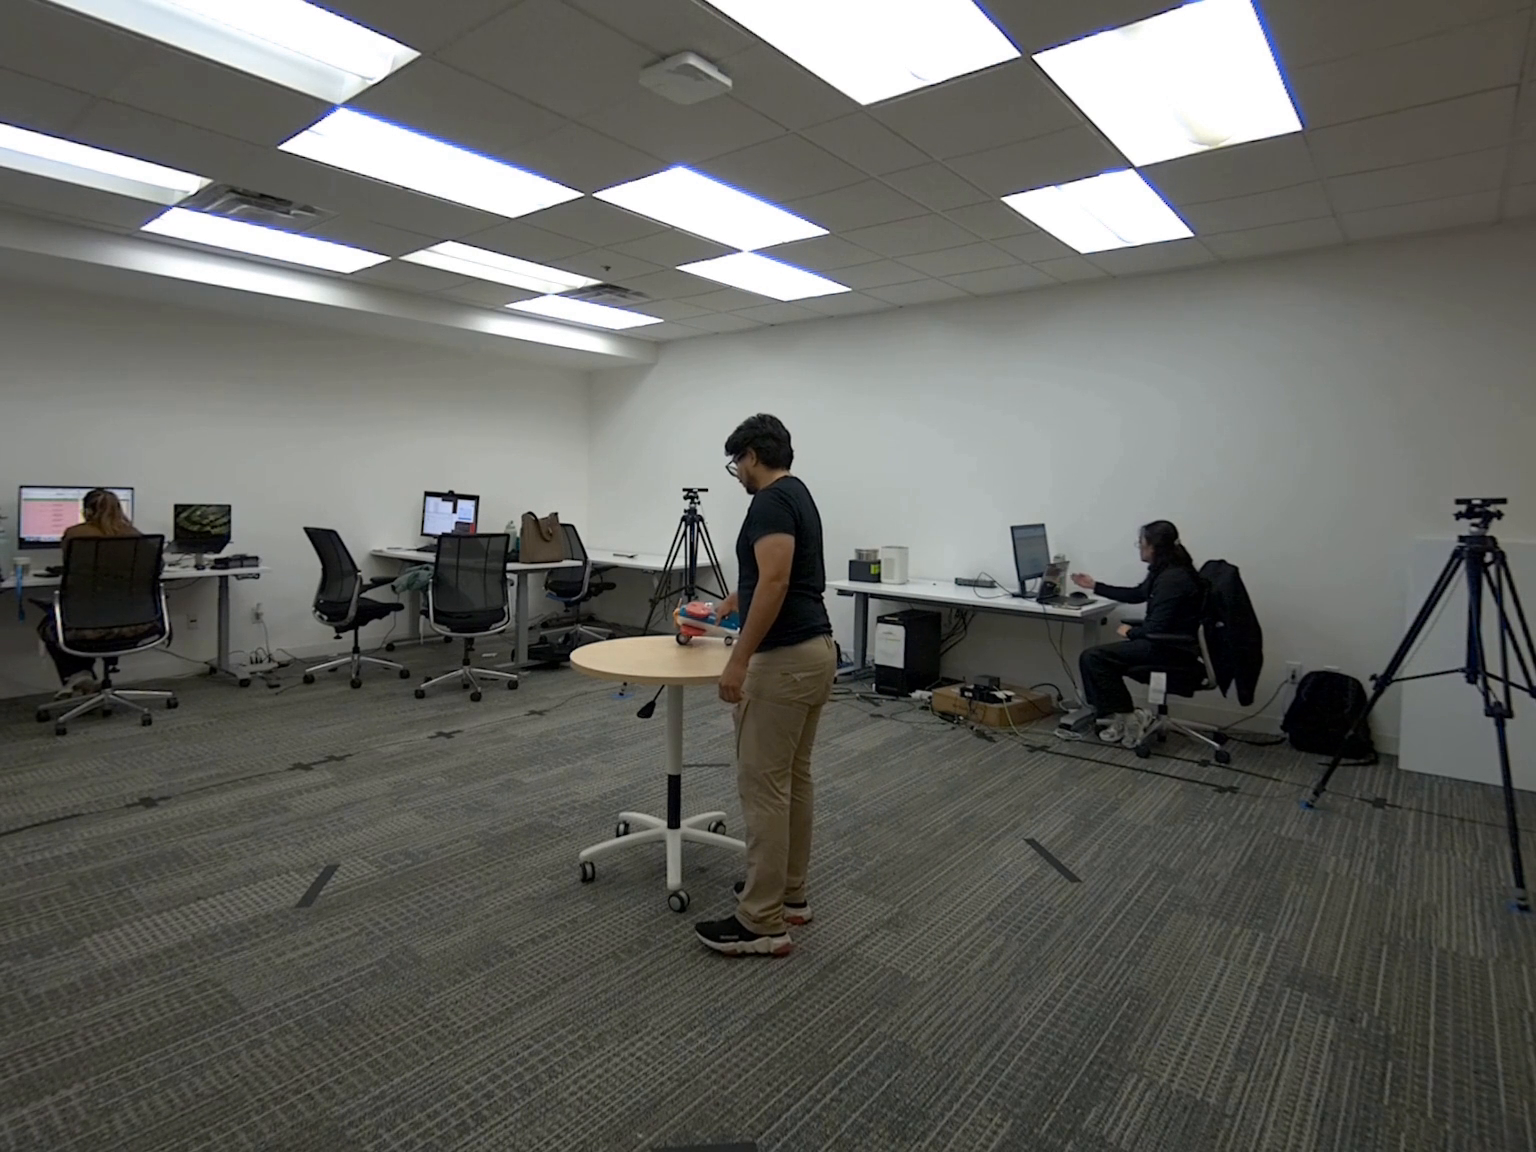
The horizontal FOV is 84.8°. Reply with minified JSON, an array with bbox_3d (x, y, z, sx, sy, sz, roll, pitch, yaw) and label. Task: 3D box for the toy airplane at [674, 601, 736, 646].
[{"bbox_3d":[-0.260,0.185,3.344,0.253,0.156,0.258,-2,6,-26],"label":"toy airplane"}]
